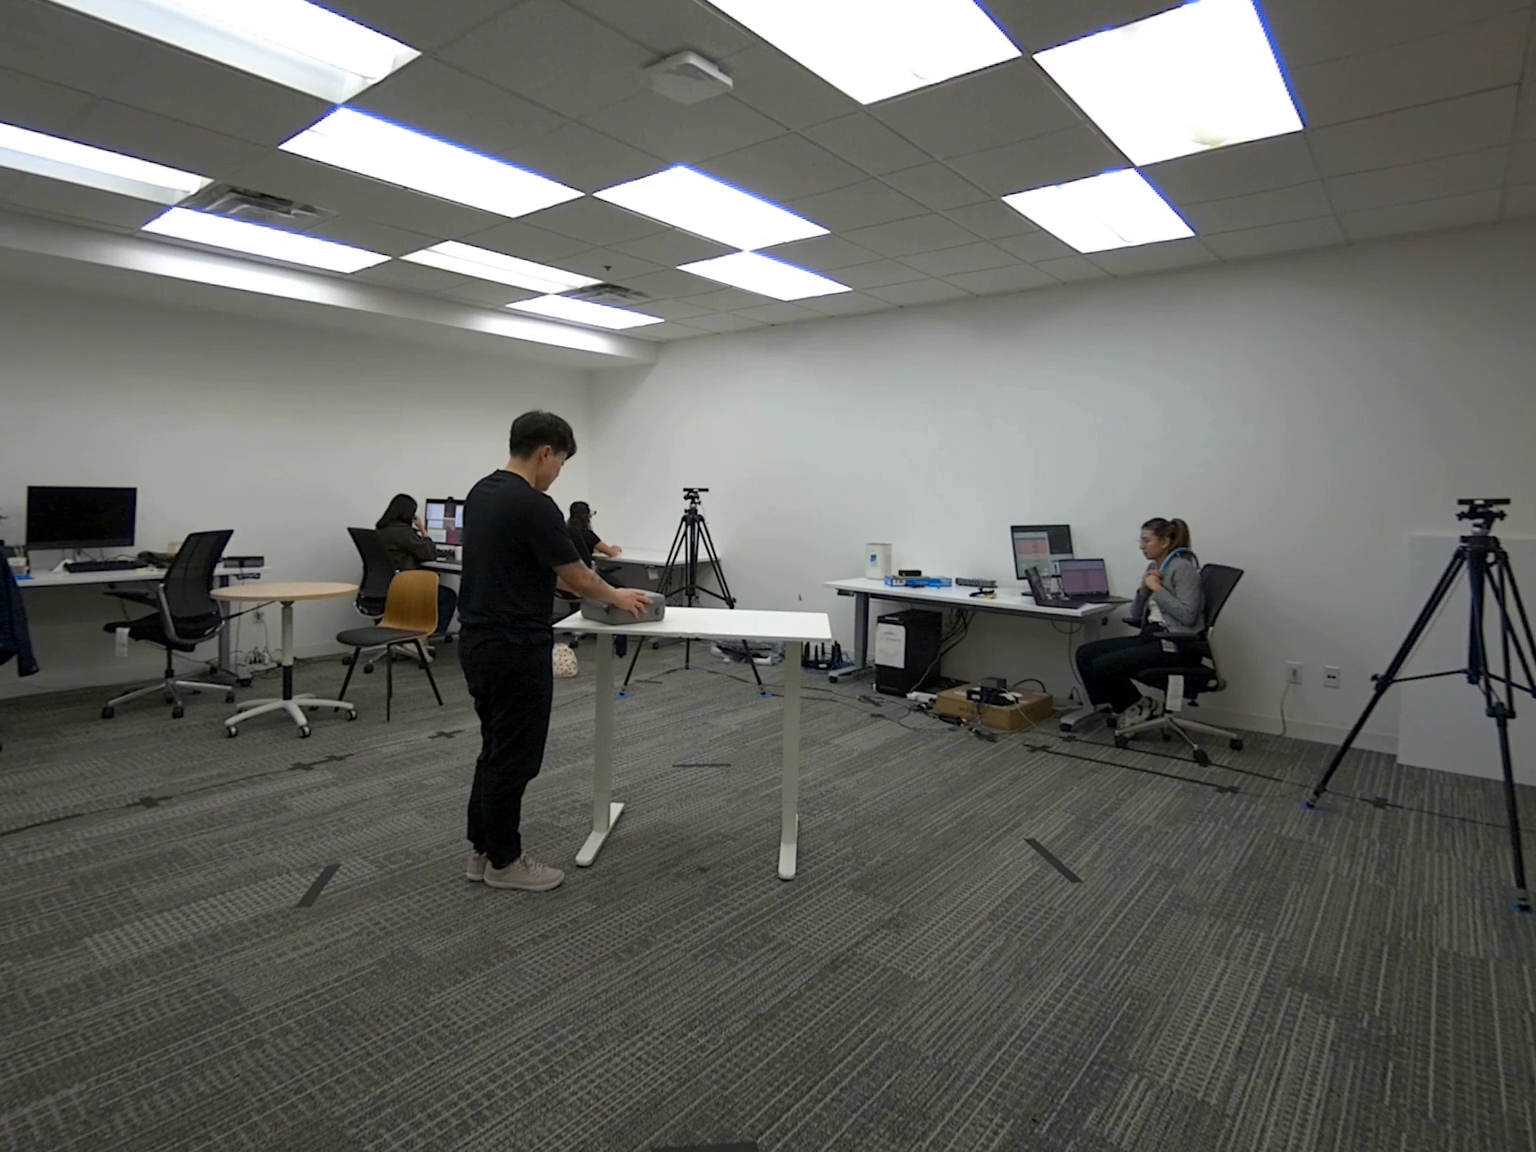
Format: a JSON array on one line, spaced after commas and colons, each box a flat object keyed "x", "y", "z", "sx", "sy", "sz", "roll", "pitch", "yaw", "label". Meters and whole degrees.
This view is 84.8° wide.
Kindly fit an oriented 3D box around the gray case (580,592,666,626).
[{"x": -0.567, "y": 0.113, "z": 3.286, "sx": 0.253, "sy": 0.104, "sz": 0.265, "roll": -3, "pitch": 5, "yaw": -40, "label": "gray case"}]
